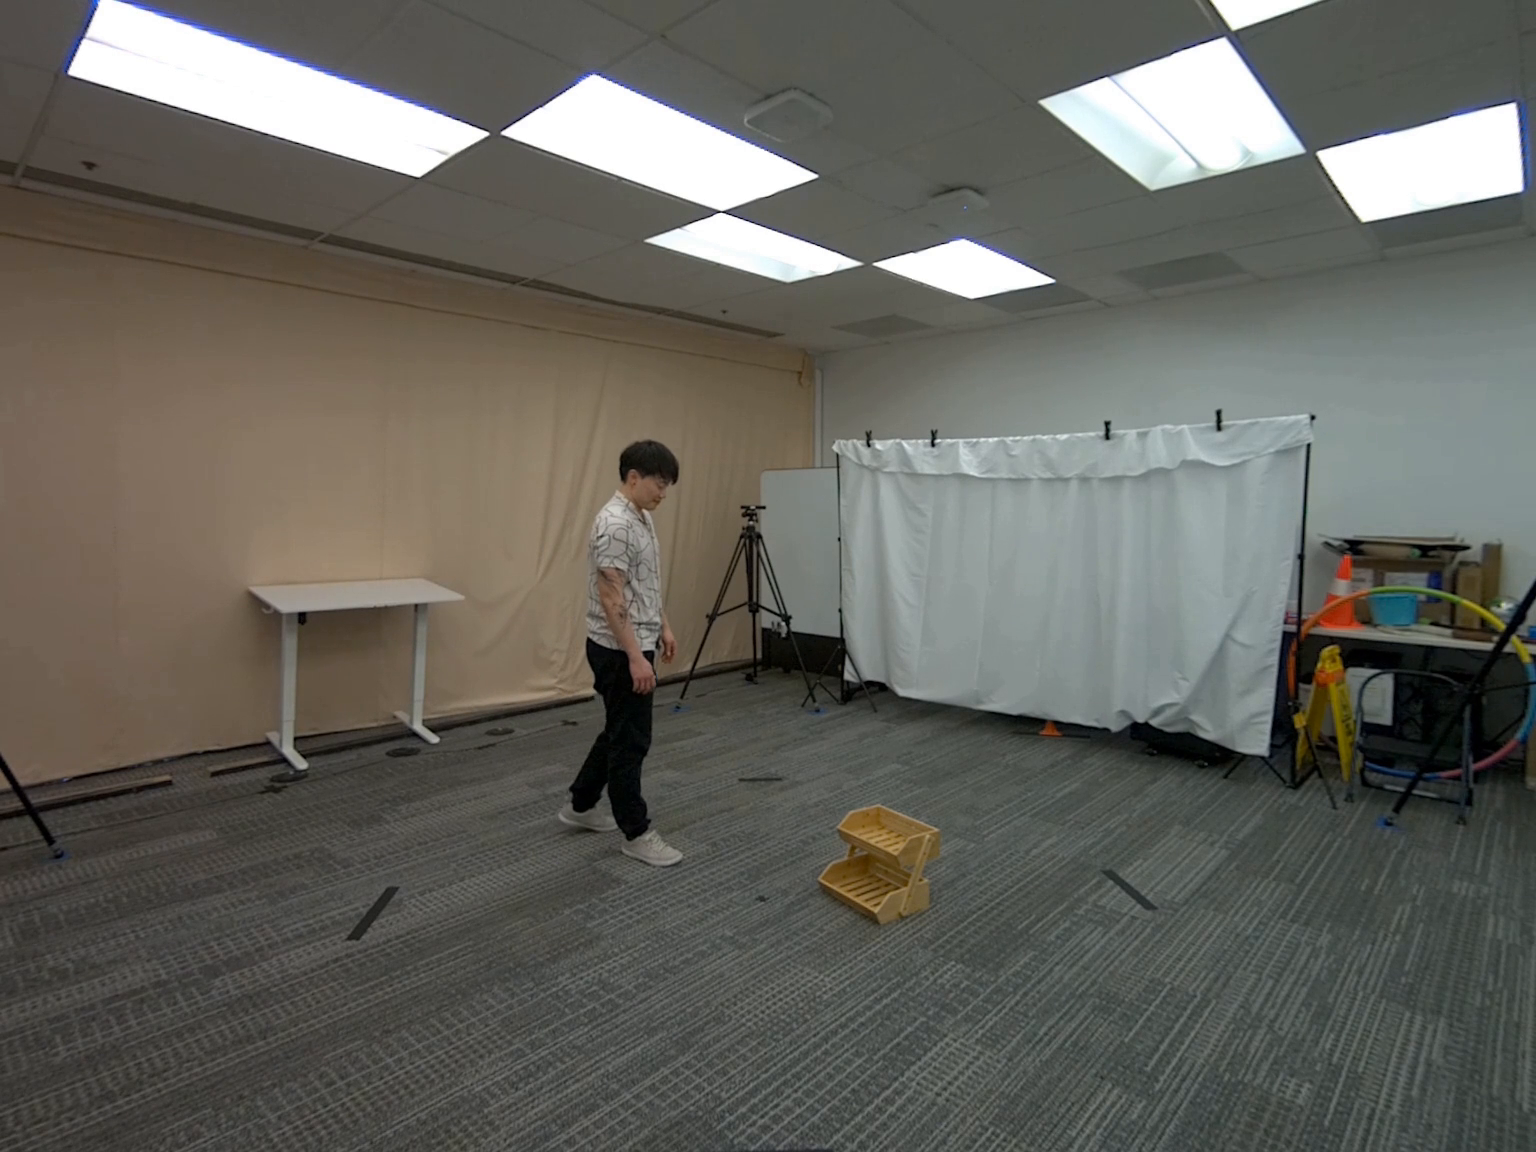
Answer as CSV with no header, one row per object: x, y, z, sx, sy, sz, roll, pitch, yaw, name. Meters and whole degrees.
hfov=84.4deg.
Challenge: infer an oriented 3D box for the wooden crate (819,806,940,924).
0.393,1.005,2.982,0.293,0.273,0.335,-2,4,-36,wooden crate
